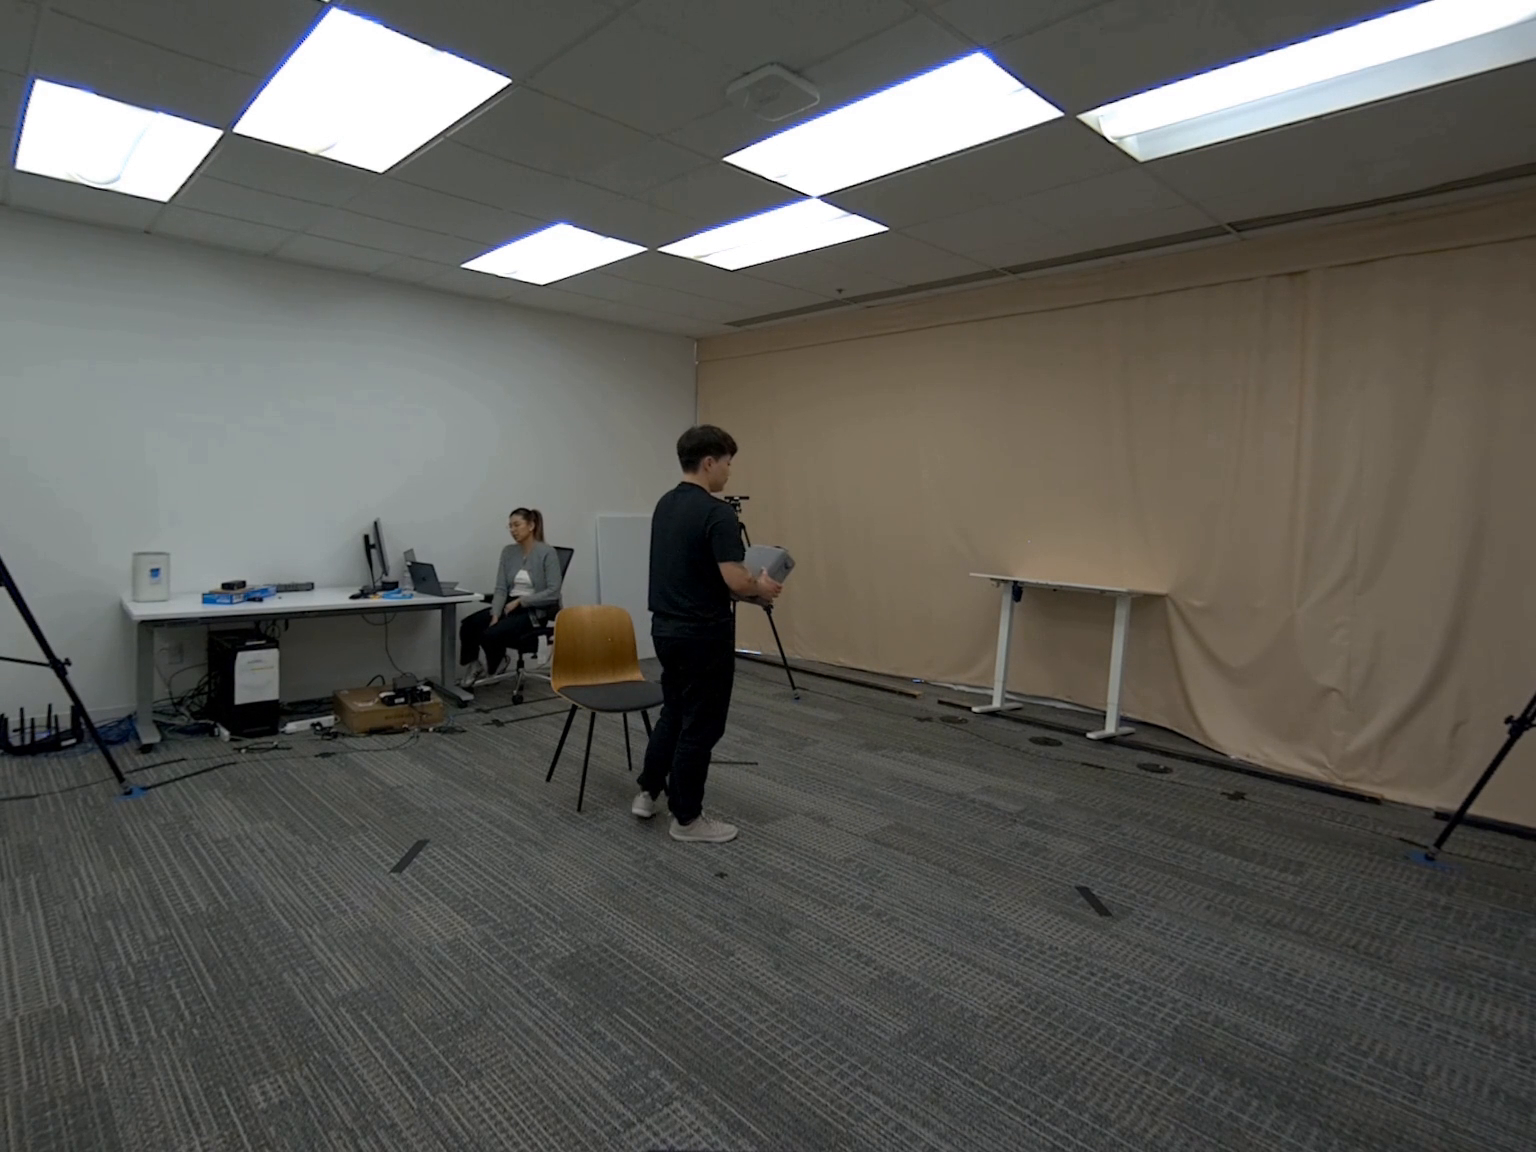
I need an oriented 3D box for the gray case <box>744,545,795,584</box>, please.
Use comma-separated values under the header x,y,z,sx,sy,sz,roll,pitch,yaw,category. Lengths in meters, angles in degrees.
x,y,z,sx,sy,sz,roll,pitch,yaw,category
-0.063,-0.014,3.569,0.101,0.261,0.263,49,-21,-28,gray case
